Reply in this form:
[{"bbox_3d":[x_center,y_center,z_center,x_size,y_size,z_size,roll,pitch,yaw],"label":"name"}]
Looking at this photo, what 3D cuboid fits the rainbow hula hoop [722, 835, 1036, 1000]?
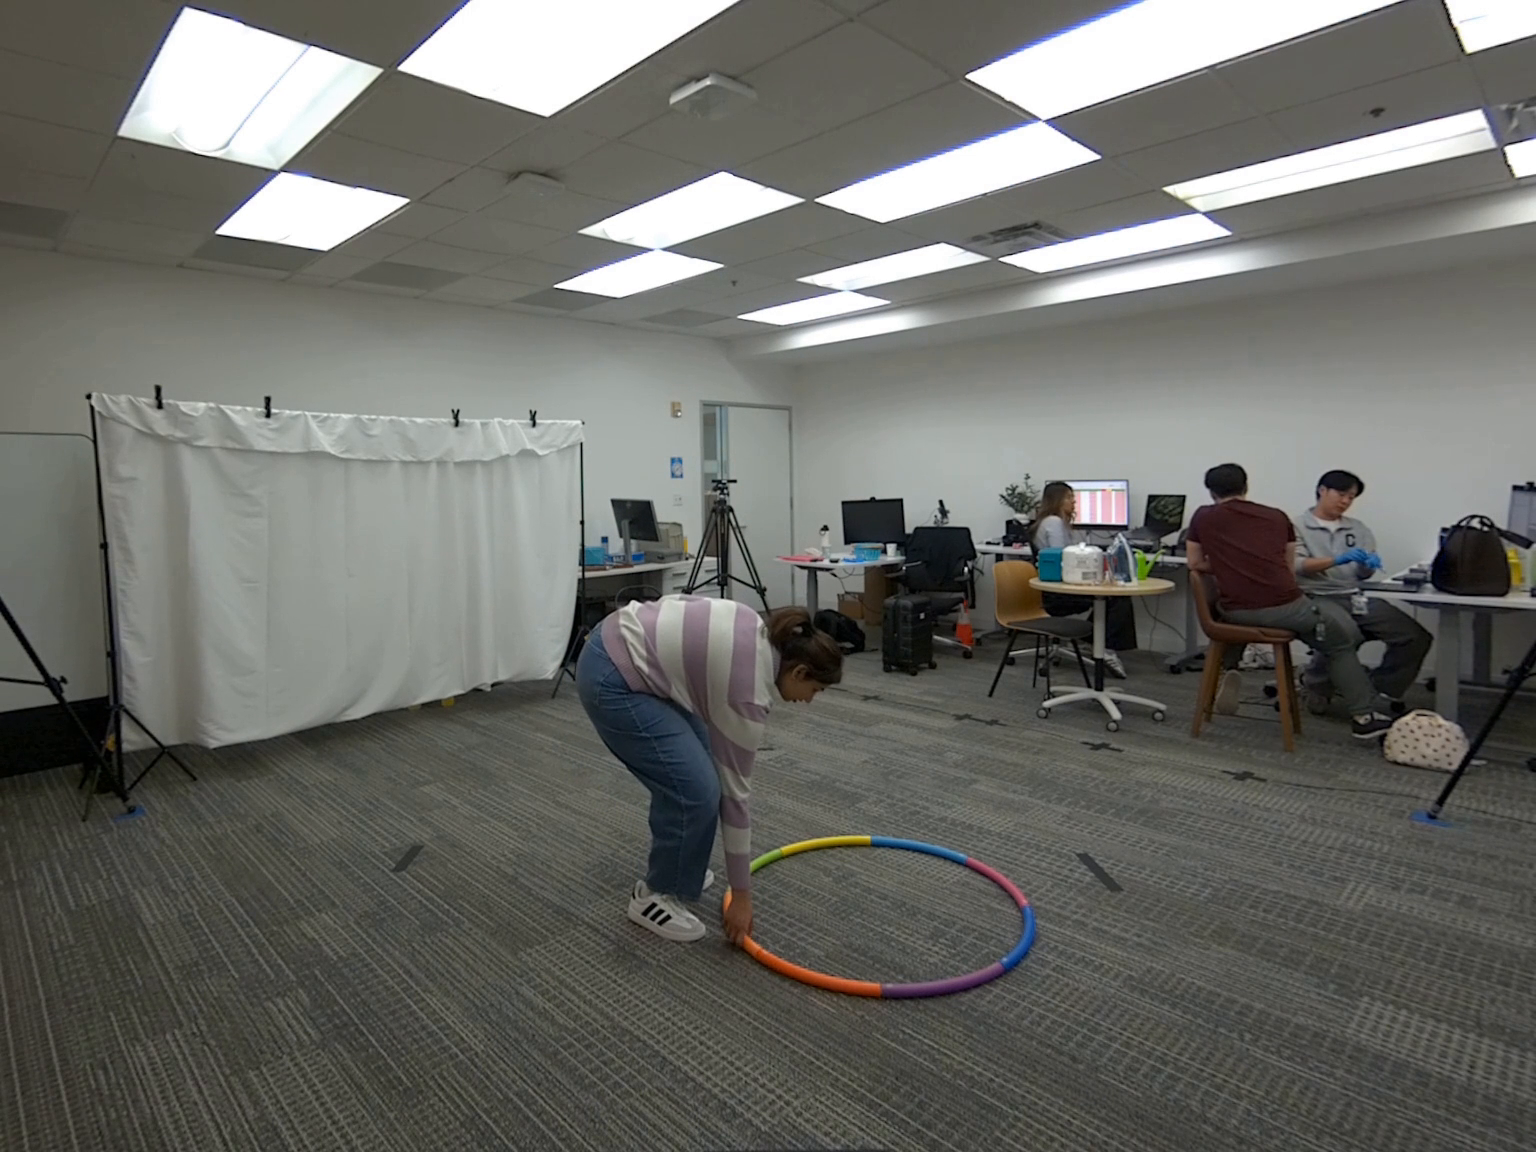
[{"bbox_3d":[0.341,1.048,2.775,0.978,0.035,0.984,-2,7,-2],"label":"rainbow hula hoop"}]
